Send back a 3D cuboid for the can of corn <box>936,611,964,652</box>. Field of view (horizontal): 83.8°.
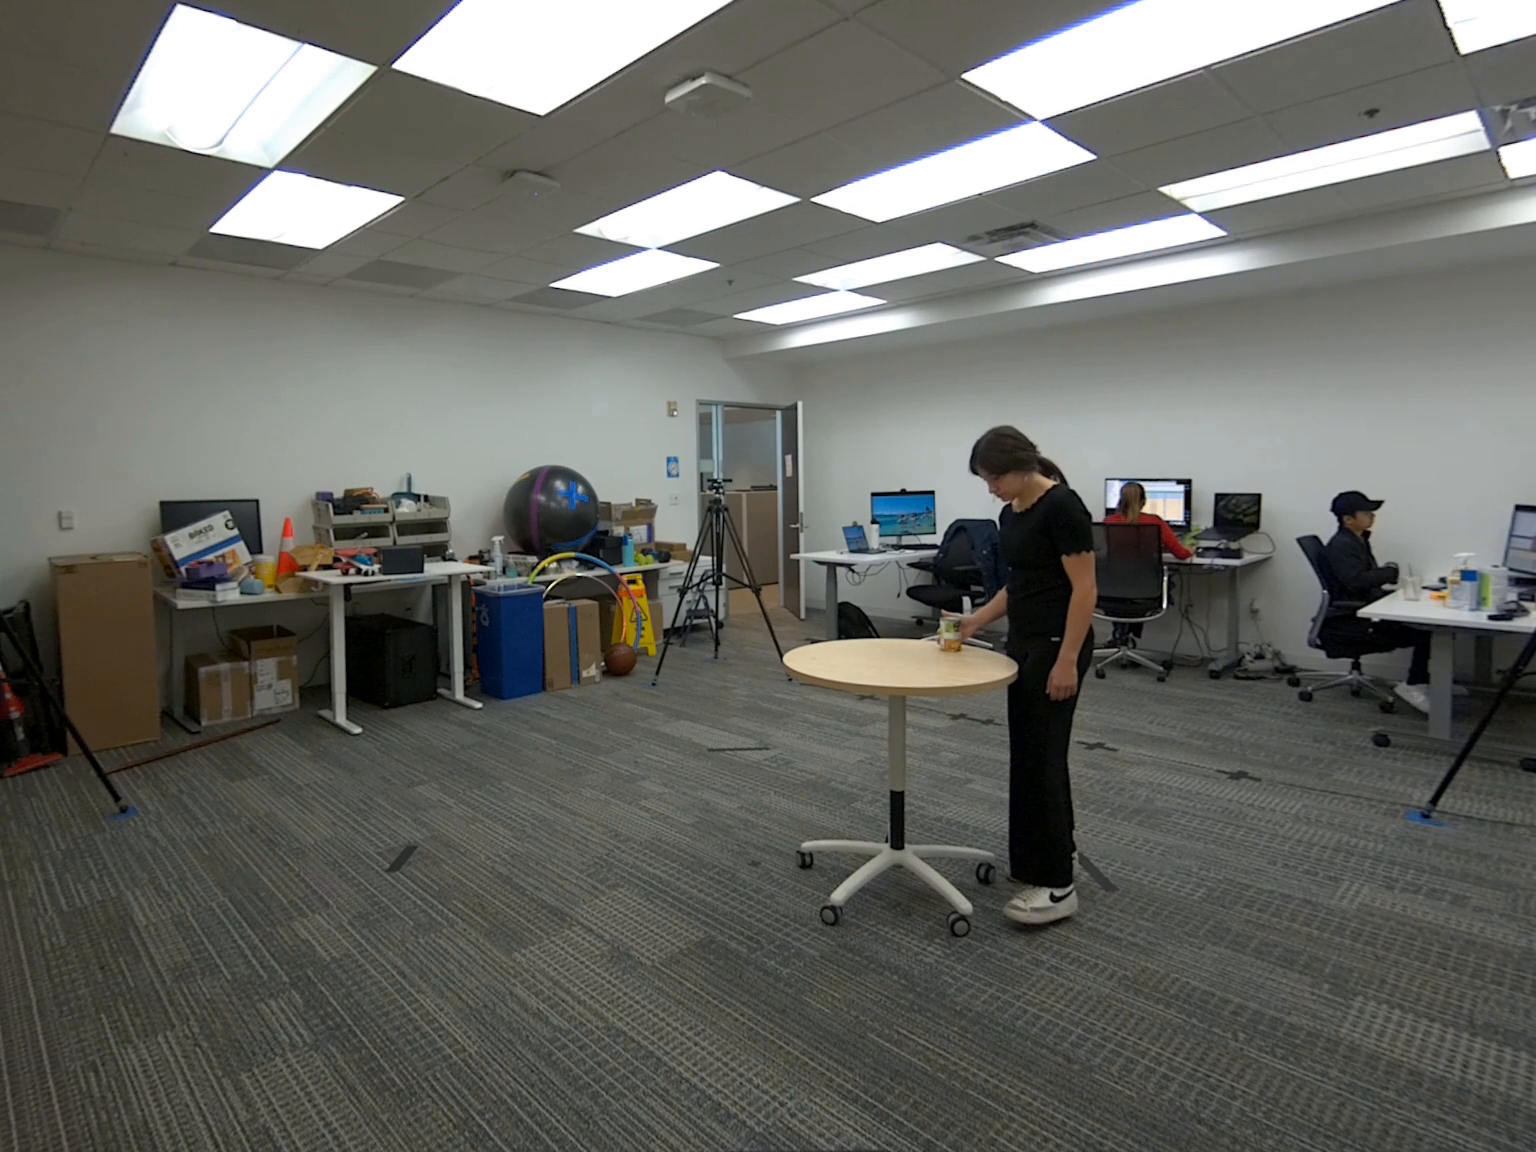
[{"bbox_3d":[0.657,0.206,3.006,0.074,0.110,0.075,0,6,-2],"label":"can of corn"}]
